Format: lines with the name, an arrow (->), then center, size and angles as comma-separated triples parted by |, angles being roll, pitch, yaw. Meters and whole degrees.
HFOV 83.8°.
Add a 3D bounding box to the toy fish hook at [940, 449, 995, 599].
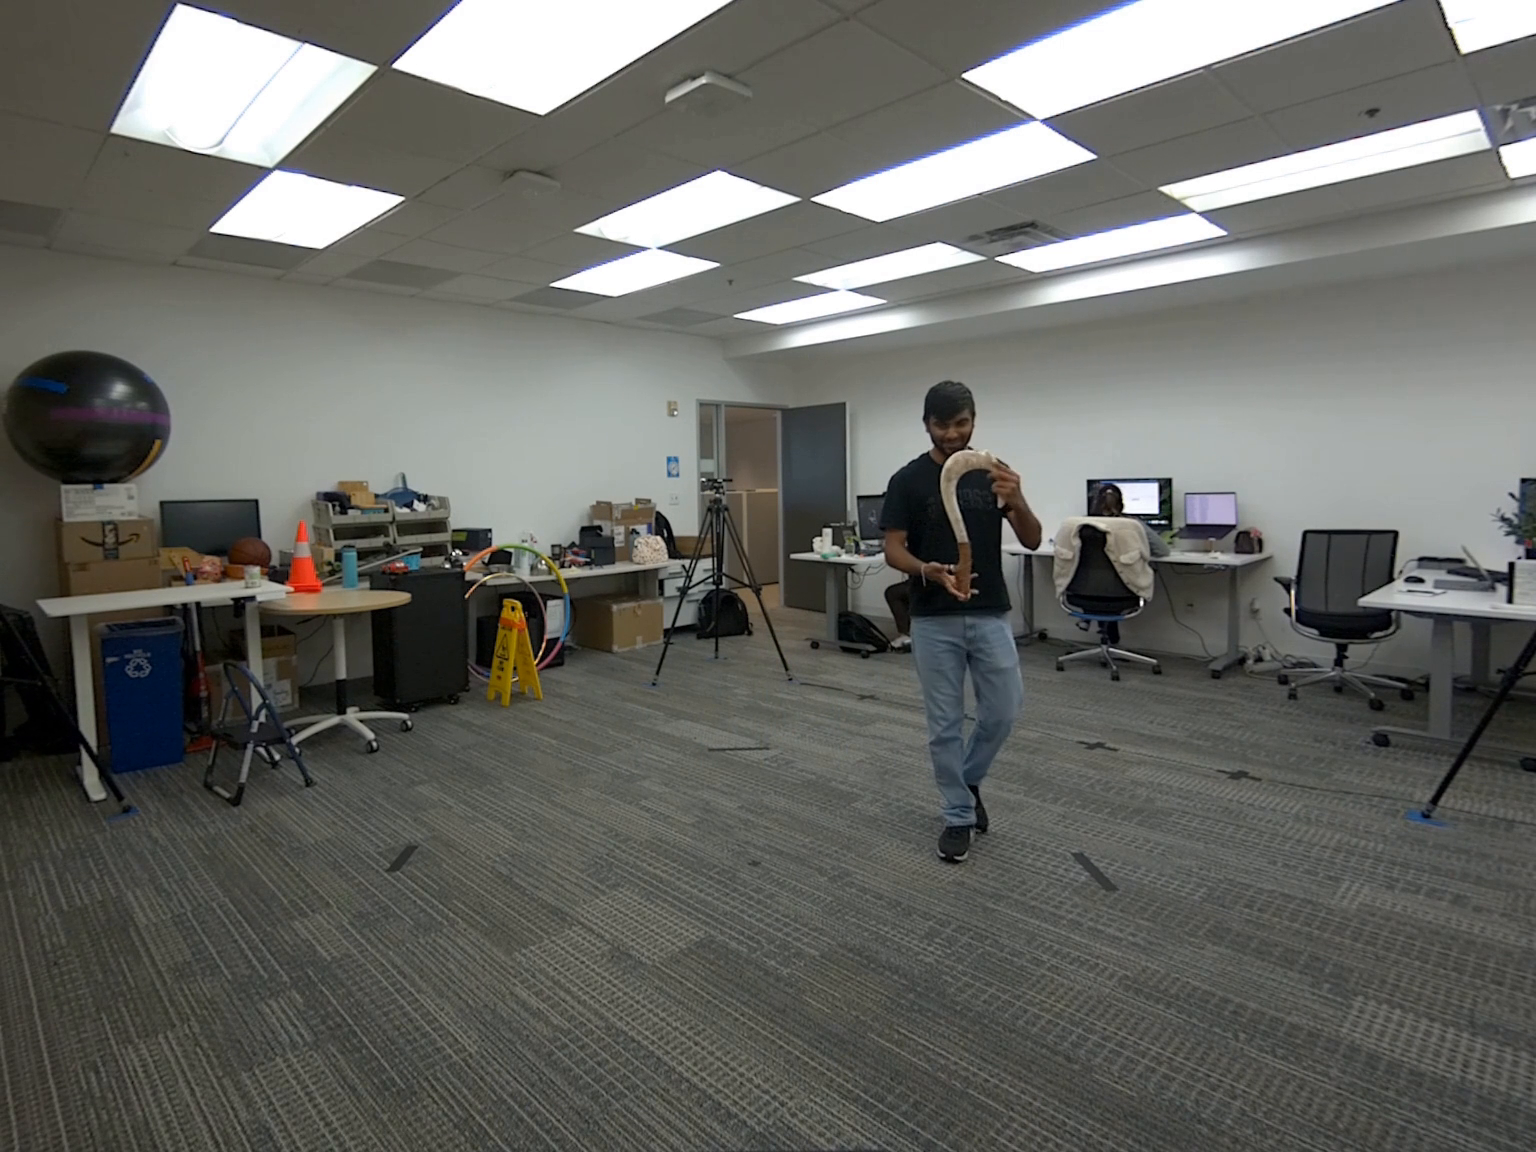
toy fish hook -> 0.711, -0.161, 2.863 | 0.225, 0.507, 0.048 | 0, -2, 4
